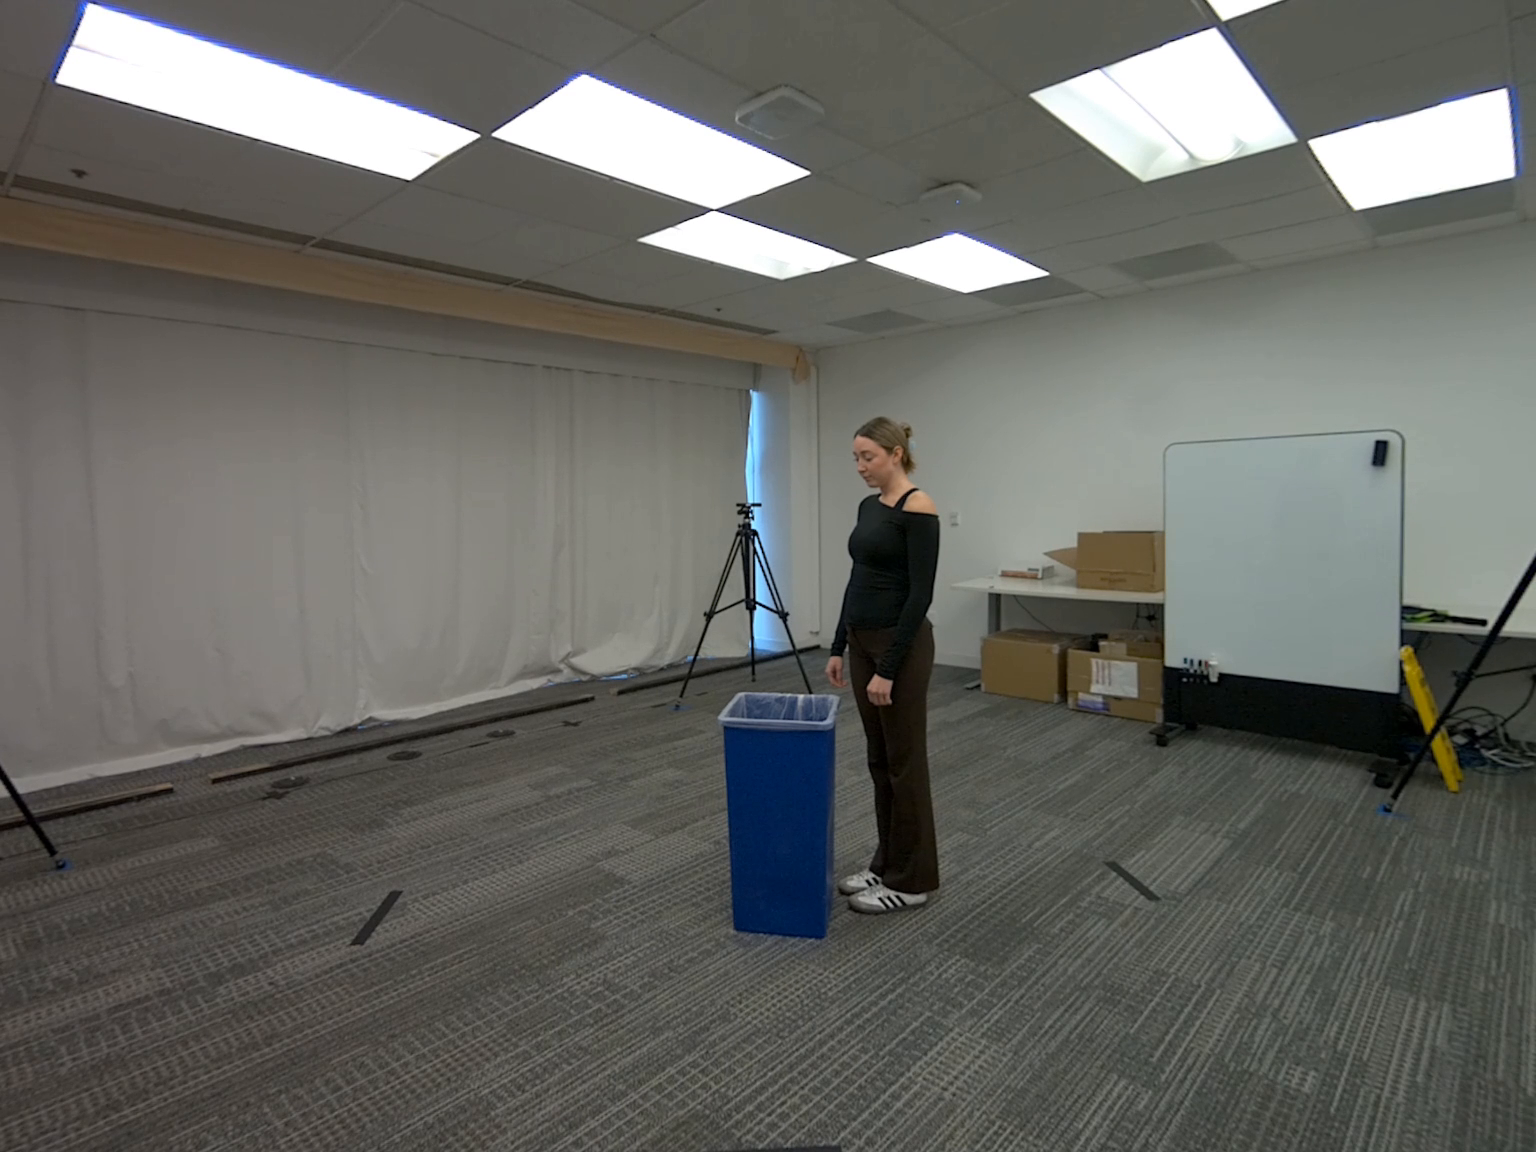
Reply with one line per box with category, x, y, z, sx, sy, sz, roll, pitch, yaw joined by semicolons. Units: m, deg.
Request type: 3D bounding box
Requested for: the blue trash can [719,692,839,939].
blue trash can;0.060;0.792;2.832;0.383;0.712;0.370;-1;3;11
